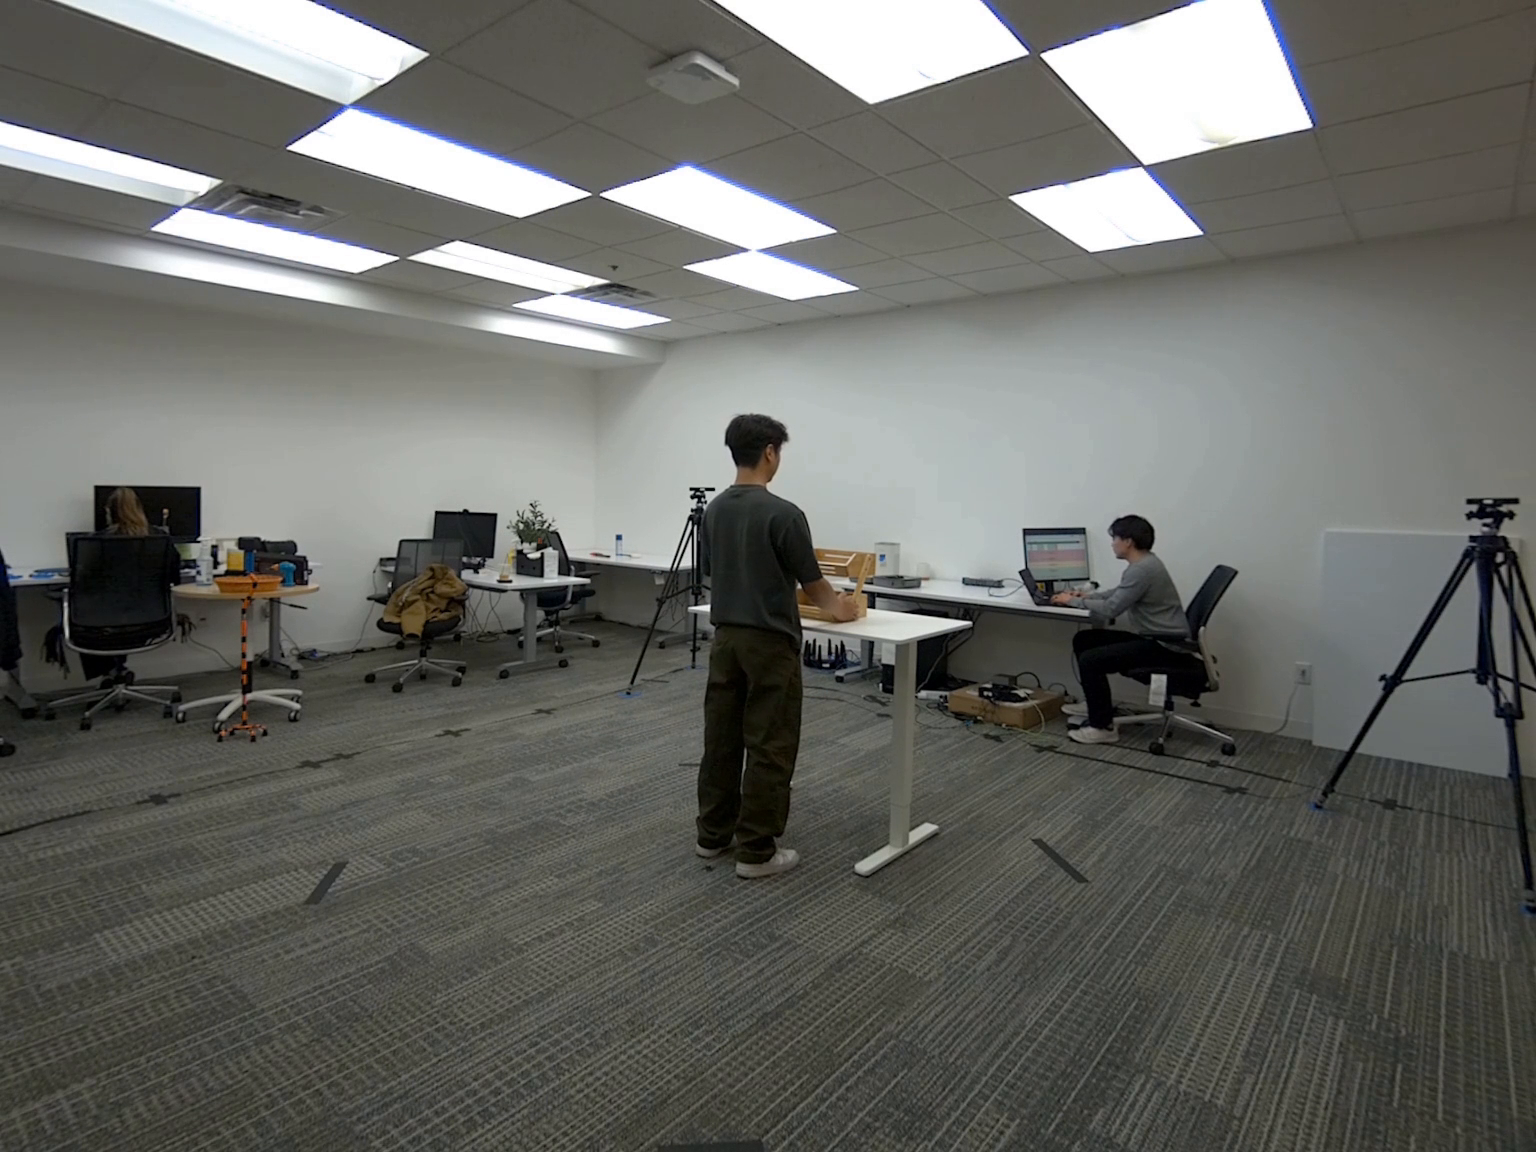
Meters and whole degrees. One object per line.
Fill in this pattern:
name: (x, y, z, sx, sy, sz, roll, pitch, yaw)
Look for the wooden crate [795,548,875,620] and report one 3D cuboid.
wooden crate: (0.216, 0.021, 3.481, 0.335, 0.272, 0.293, 6, 5, 40)
